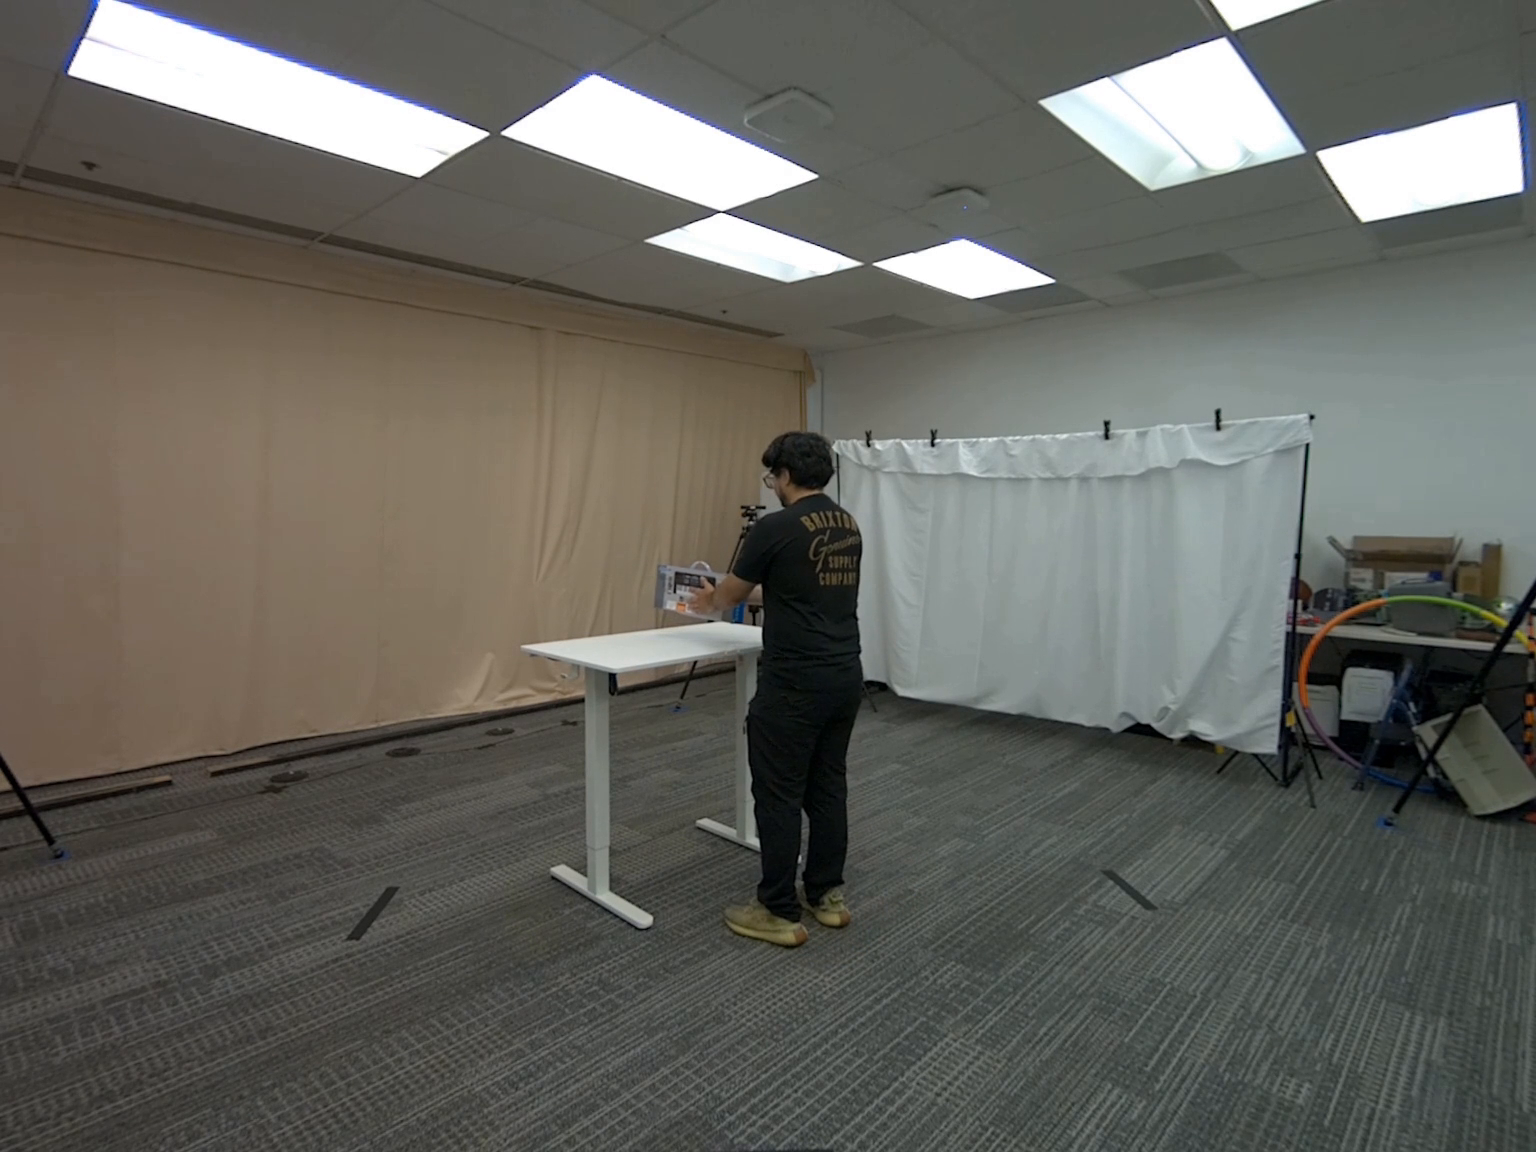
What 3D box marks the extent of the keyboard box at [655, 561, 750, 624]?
[{"bbox_3d":[-0.264,0.069,3.207,0.452,0.176,0.057,8,3,41],"label":"keyboard box"}]
